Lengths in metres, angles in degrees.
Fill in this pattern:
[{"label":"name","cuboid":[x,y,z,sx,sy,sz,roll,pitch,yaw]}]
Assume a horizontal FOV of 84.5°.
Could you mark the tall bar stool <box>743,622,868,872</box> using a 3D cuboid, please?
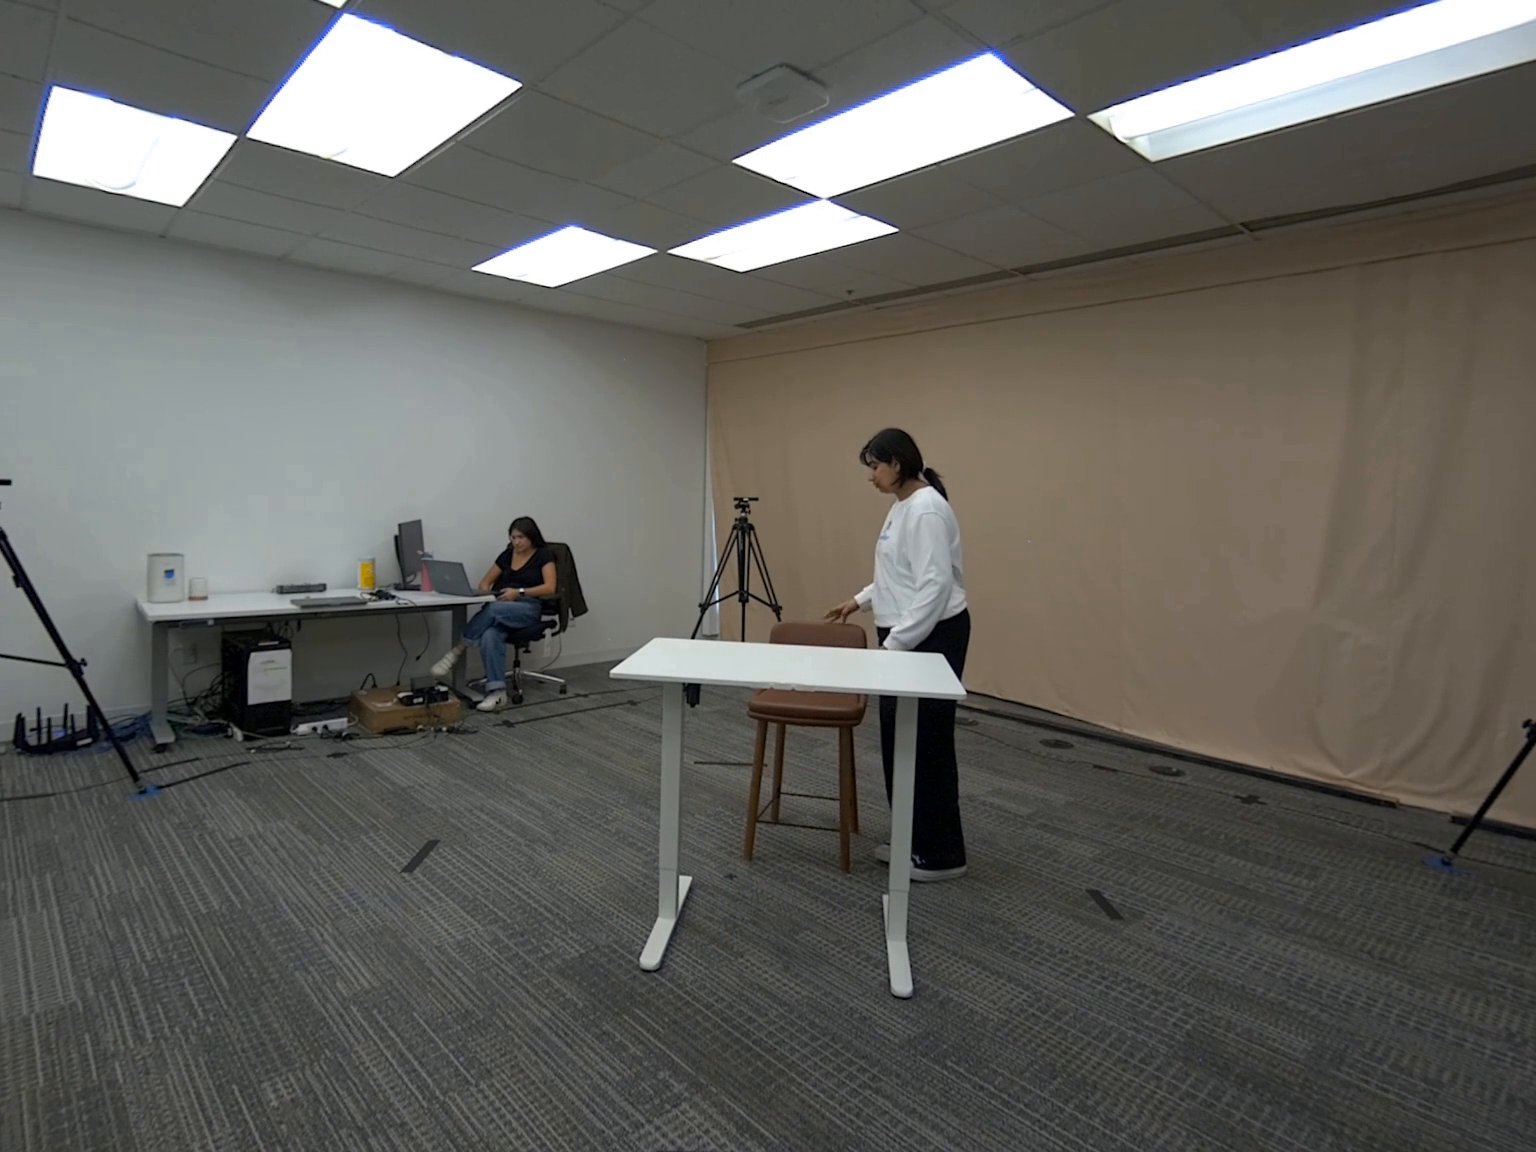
[{"label":"tall bar stool","cuboid":[0.159,0.652,3.402,0.462,0.889,0.462,3,1,15]}]
